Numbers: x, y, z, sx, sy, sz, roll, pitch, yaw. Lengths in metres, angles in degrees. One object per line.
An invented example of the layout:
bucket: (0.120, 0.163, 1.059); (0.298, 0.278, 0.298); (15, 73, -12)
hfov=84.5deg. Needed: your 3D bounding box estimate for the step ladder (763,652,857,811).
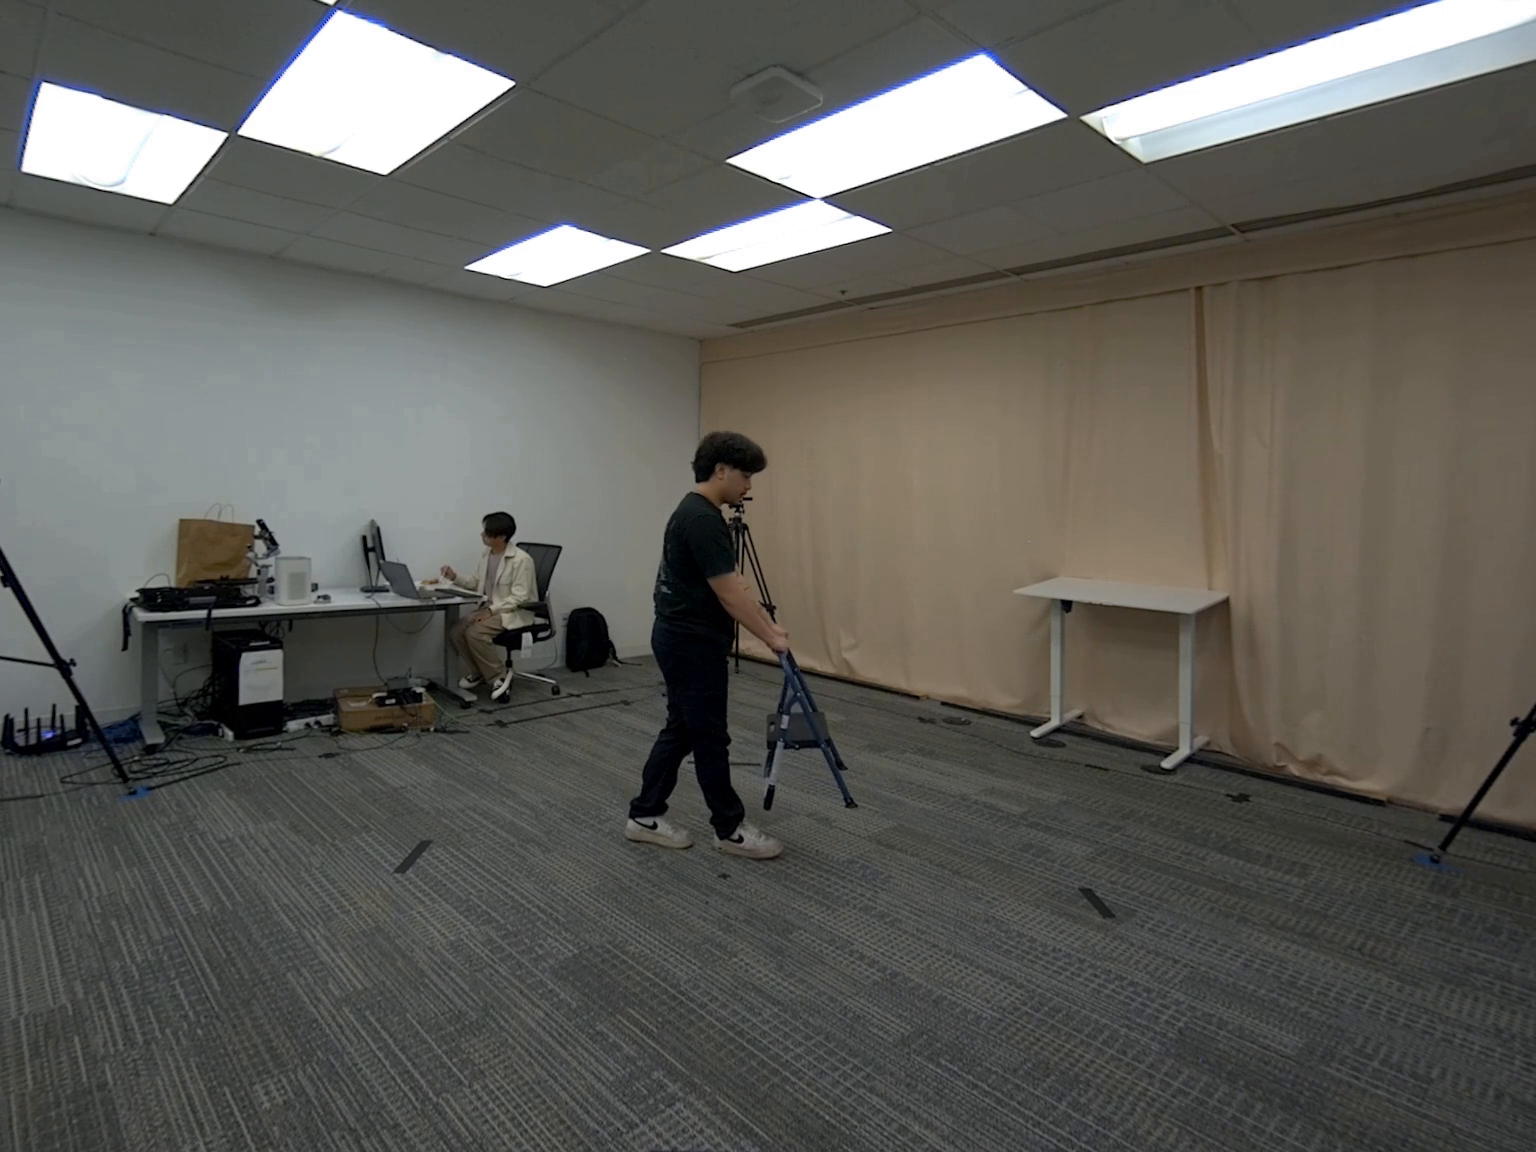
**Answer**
step ladder: (0.124, 0.553, 3.335); (0.350, 0.603, 0.432); (-4, 5, 1)
